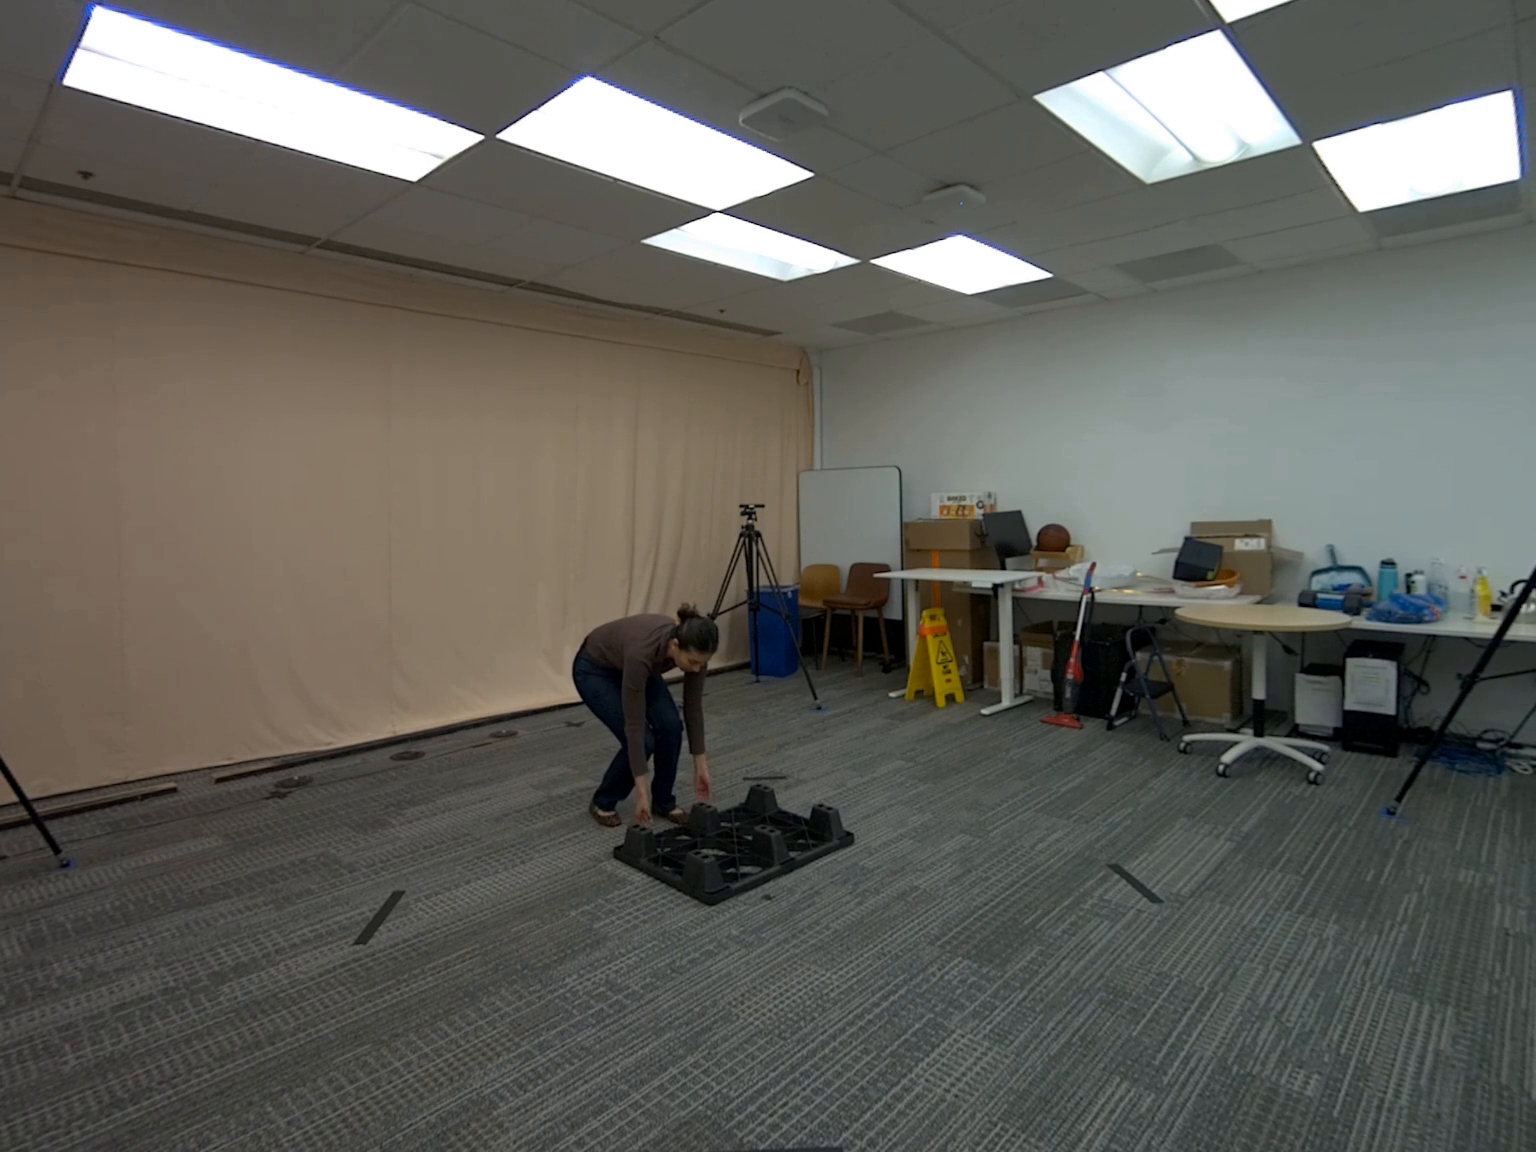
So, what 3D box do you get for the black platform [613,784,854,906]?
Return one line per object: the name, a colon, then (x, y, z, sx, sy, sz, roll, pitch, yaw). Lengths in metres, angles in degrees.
black platform: (-0.128, 1.043, 3.389, 0.781, 0.143, 0.625, -6, 6, -44)
